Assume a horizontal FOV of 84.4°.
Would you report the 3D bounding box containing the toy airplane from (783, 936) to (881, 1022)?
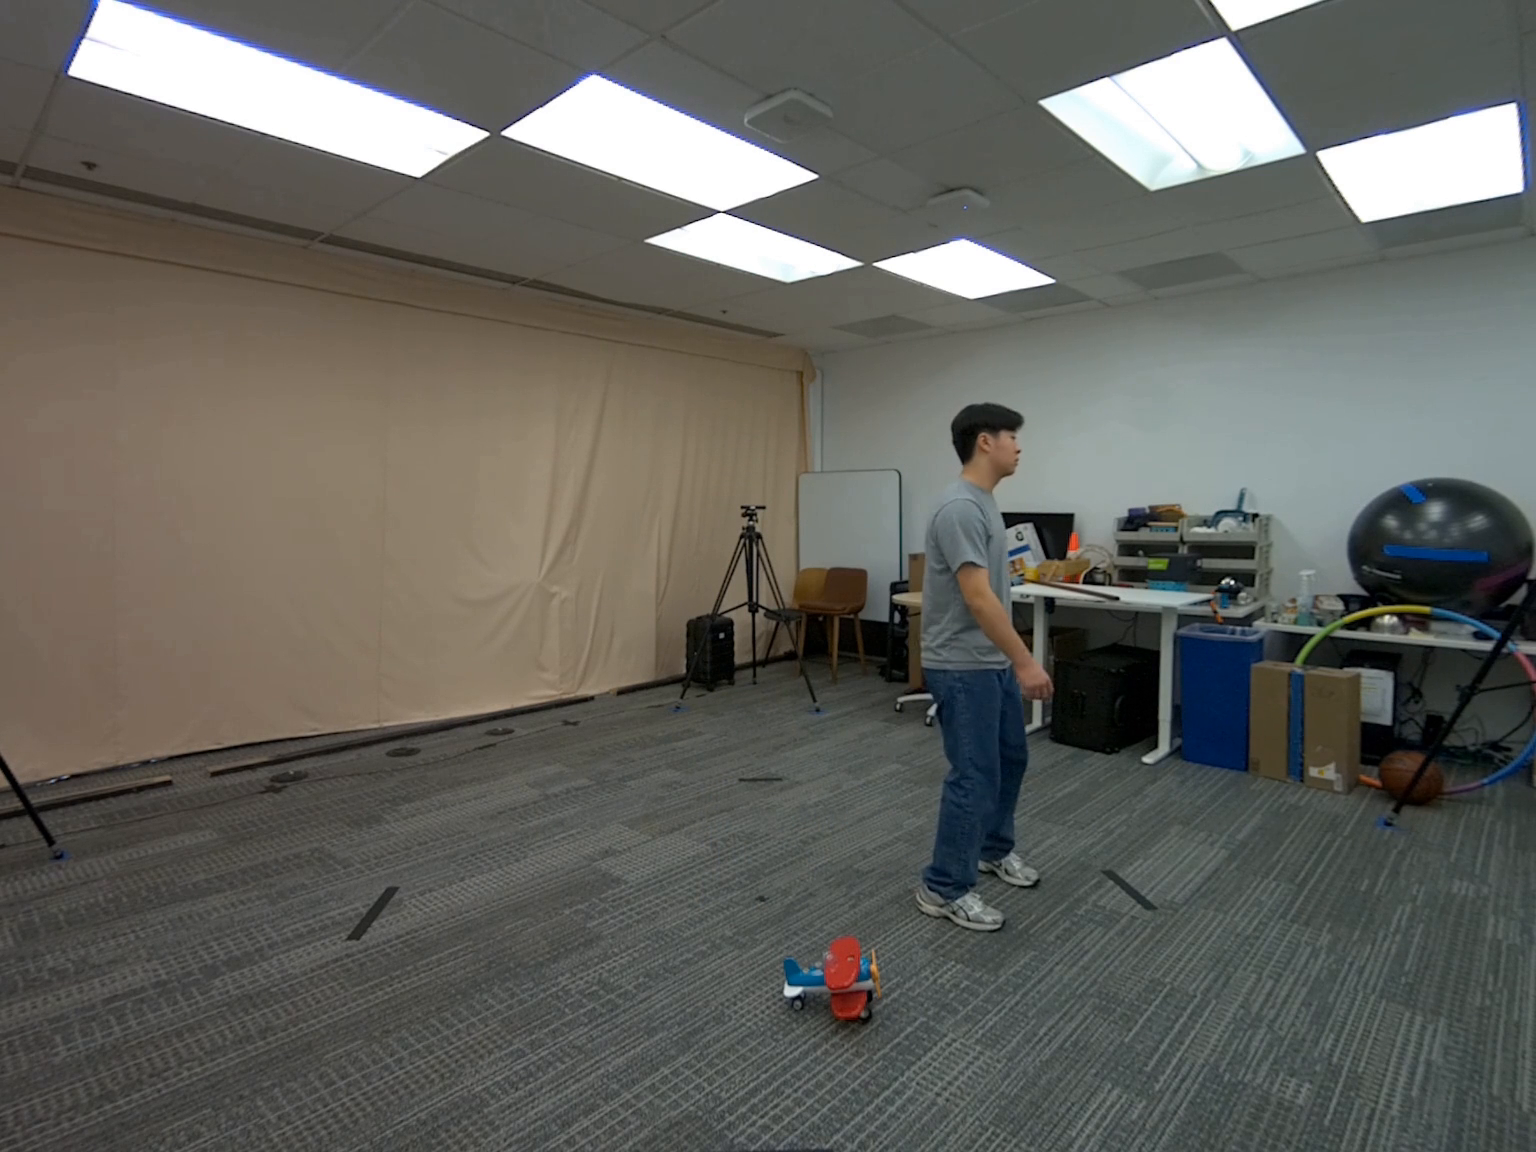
[{"bbox_3d":[0.184,1.126,2.306,0.254,0.156,0.256,-1,5,-19],"label":"toy airplane"}]
